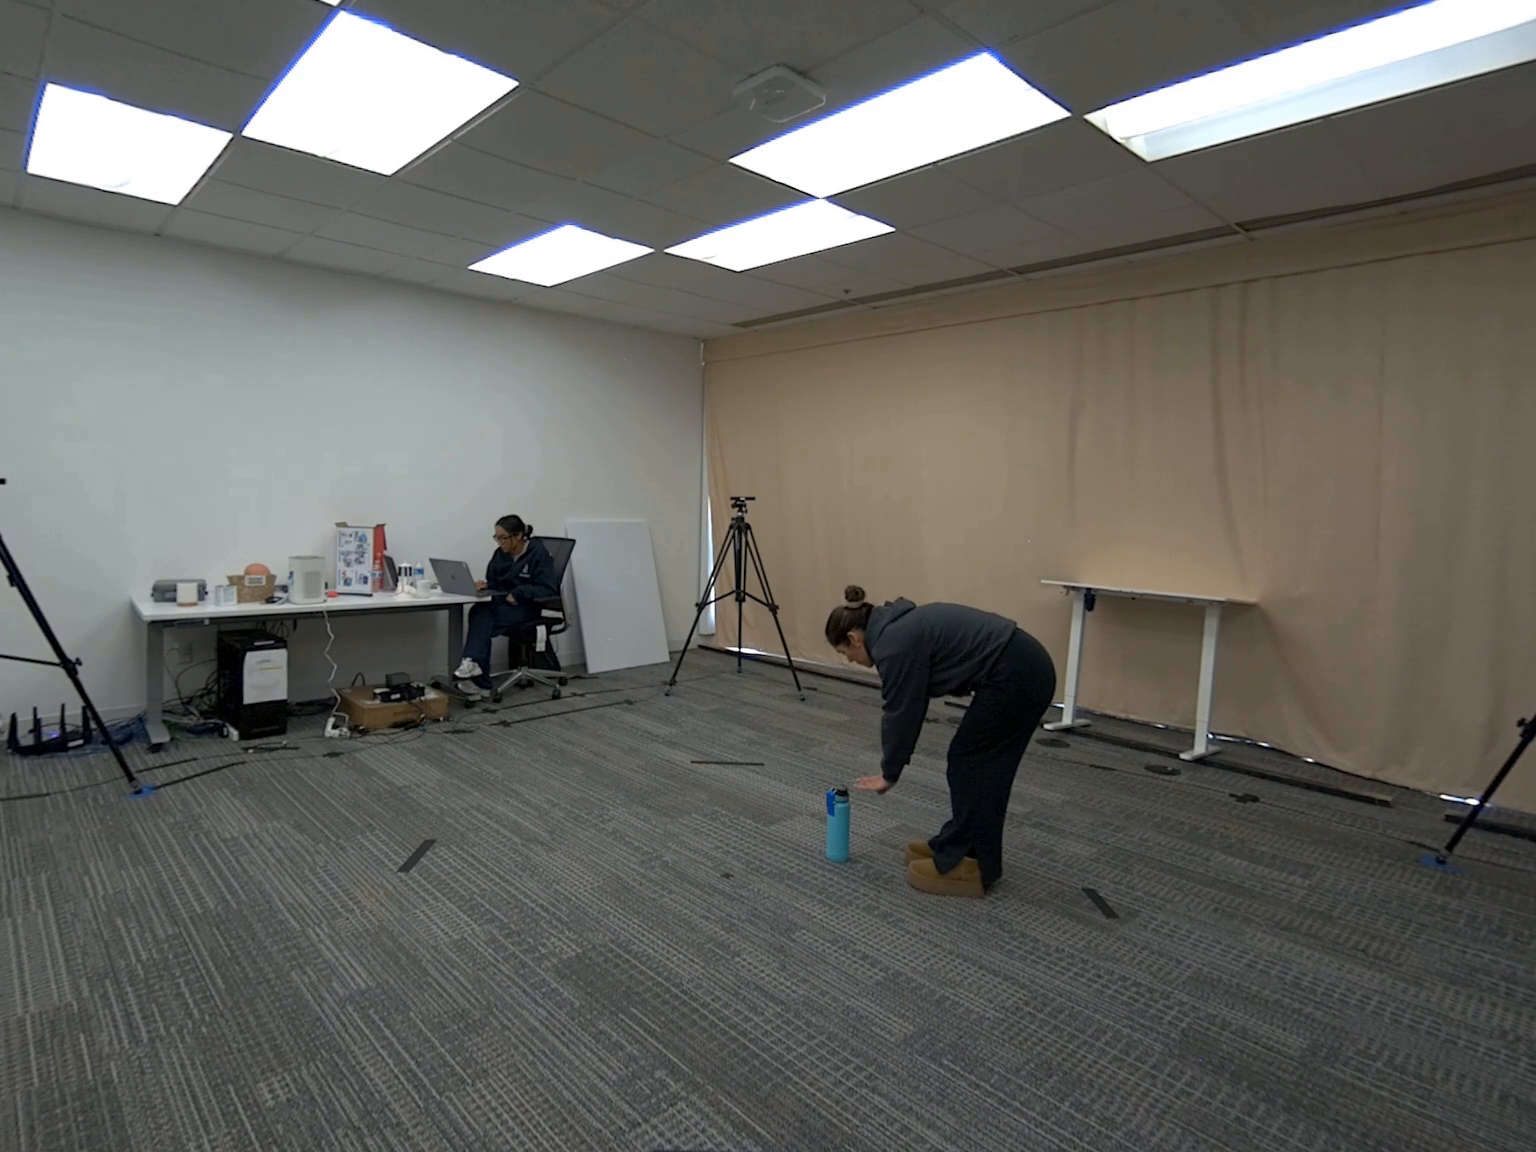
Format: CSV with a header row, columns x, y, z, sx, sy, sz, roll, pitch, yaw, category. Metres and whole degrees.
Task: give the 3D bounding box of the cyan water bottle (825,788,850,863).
x,y,z,sx,sy,sz,roll,pitch,yaw,category
0.270,0.952,3.302,0.092,0.282,0.092,0,4,-1,cyan water bottle
